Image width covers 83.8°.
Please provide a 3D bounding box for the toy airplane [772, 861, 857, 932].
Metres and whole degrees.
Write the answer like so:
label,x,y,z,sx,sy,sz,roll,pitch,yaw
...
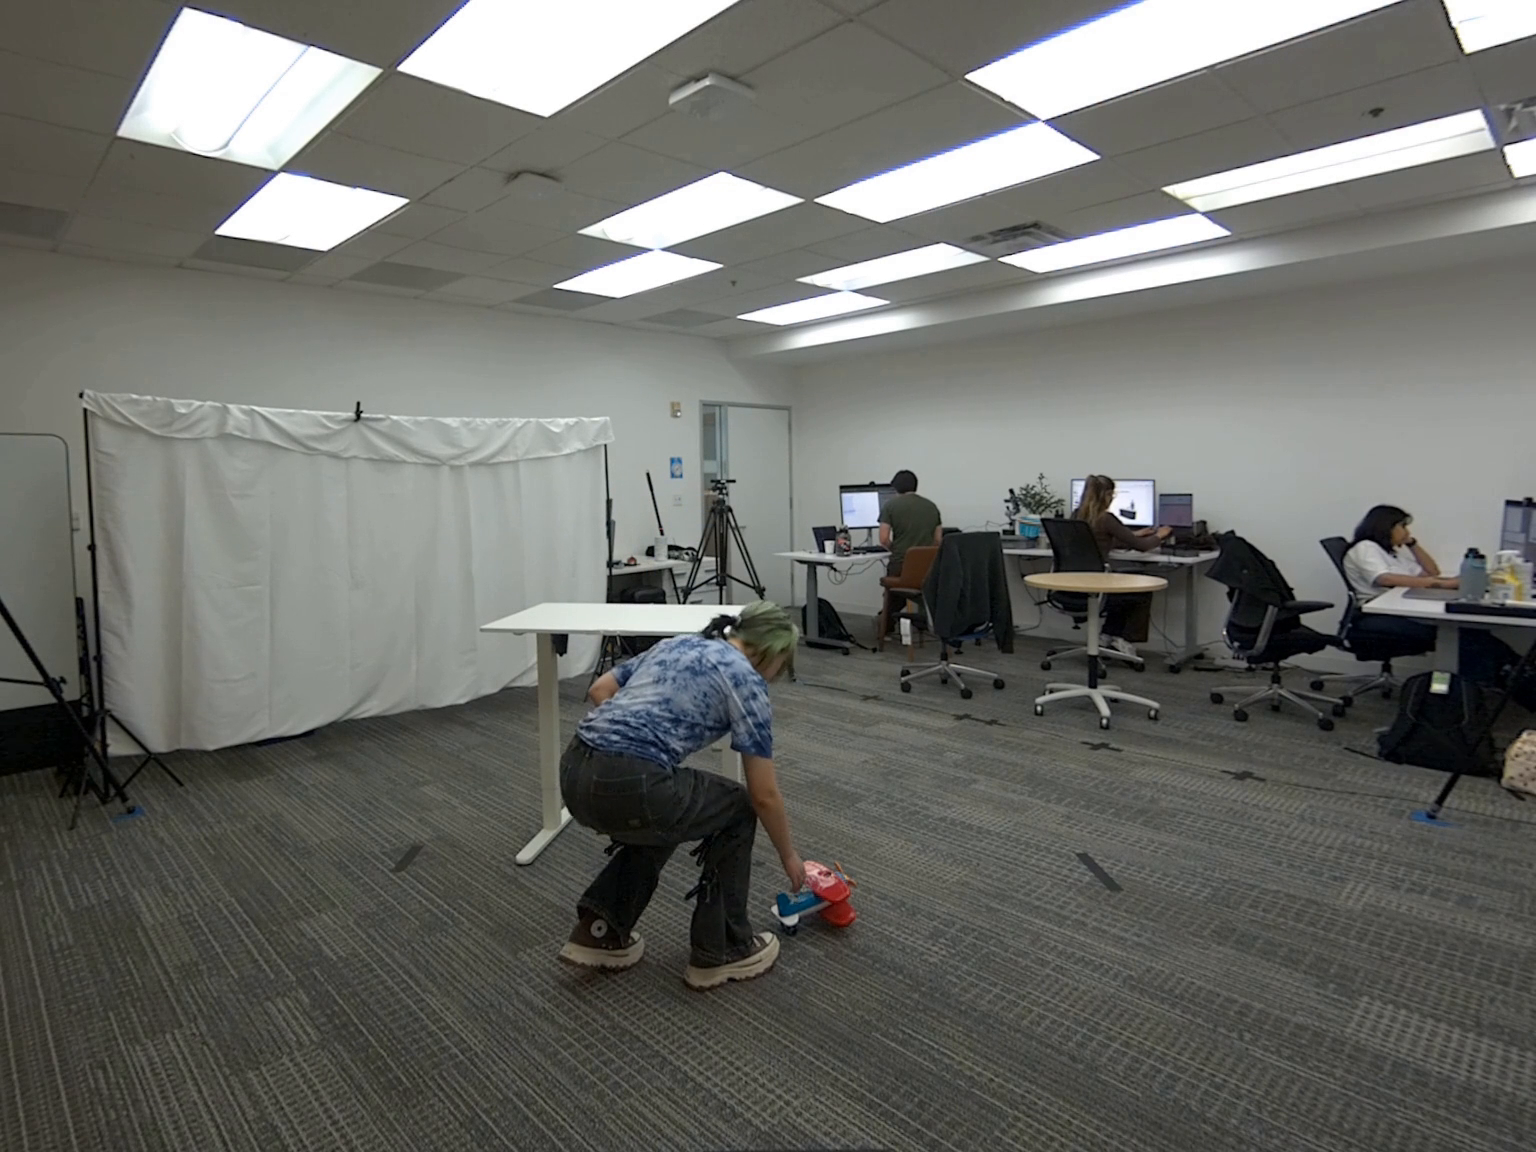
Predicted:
label,x,y,z,sx,sy,sz,roll,pitch,yaw
toy airplane,0.159,1.018,2.660,0.258,0.156,0.253,4,7,35
